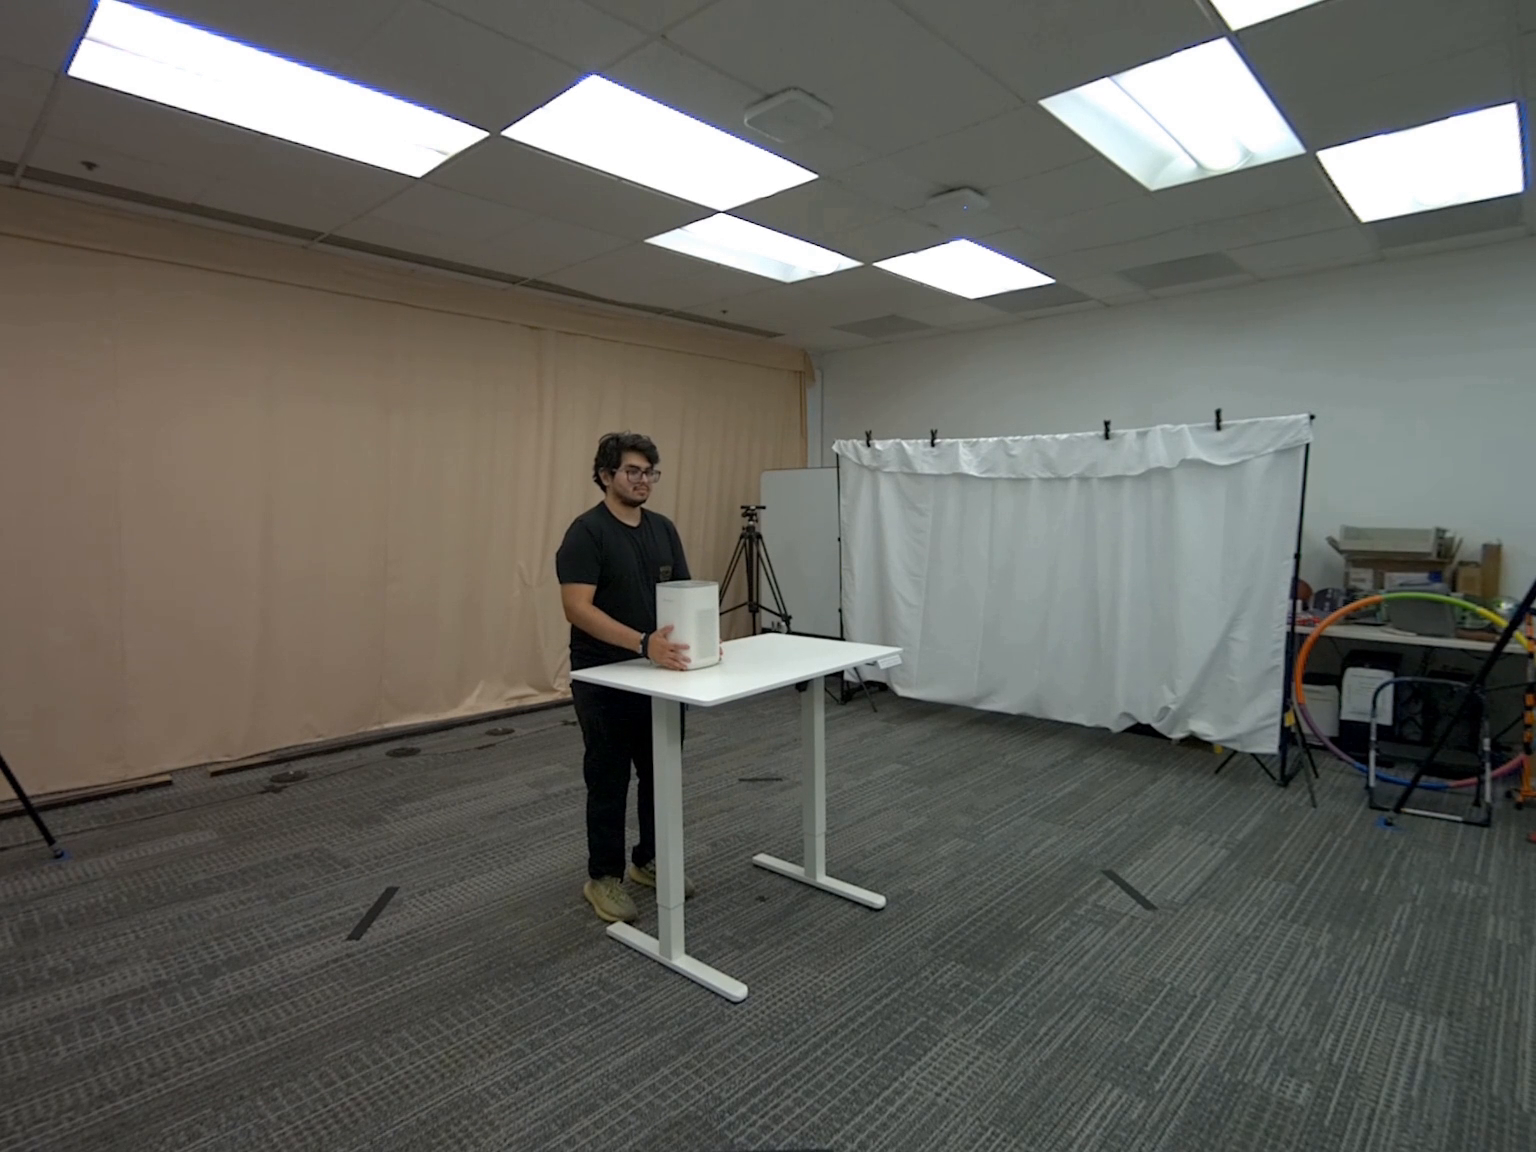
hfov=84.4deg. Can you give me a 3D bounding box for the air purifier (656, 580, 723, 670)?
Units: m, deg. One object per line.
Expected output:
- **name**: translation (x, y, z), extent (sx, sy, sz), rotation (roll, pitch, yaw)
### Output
- **air purifier**: translation (-0.249, 0.155, 2.687), extent (0.177, 0.265, 0.166), rotation (2, 5, 43)
